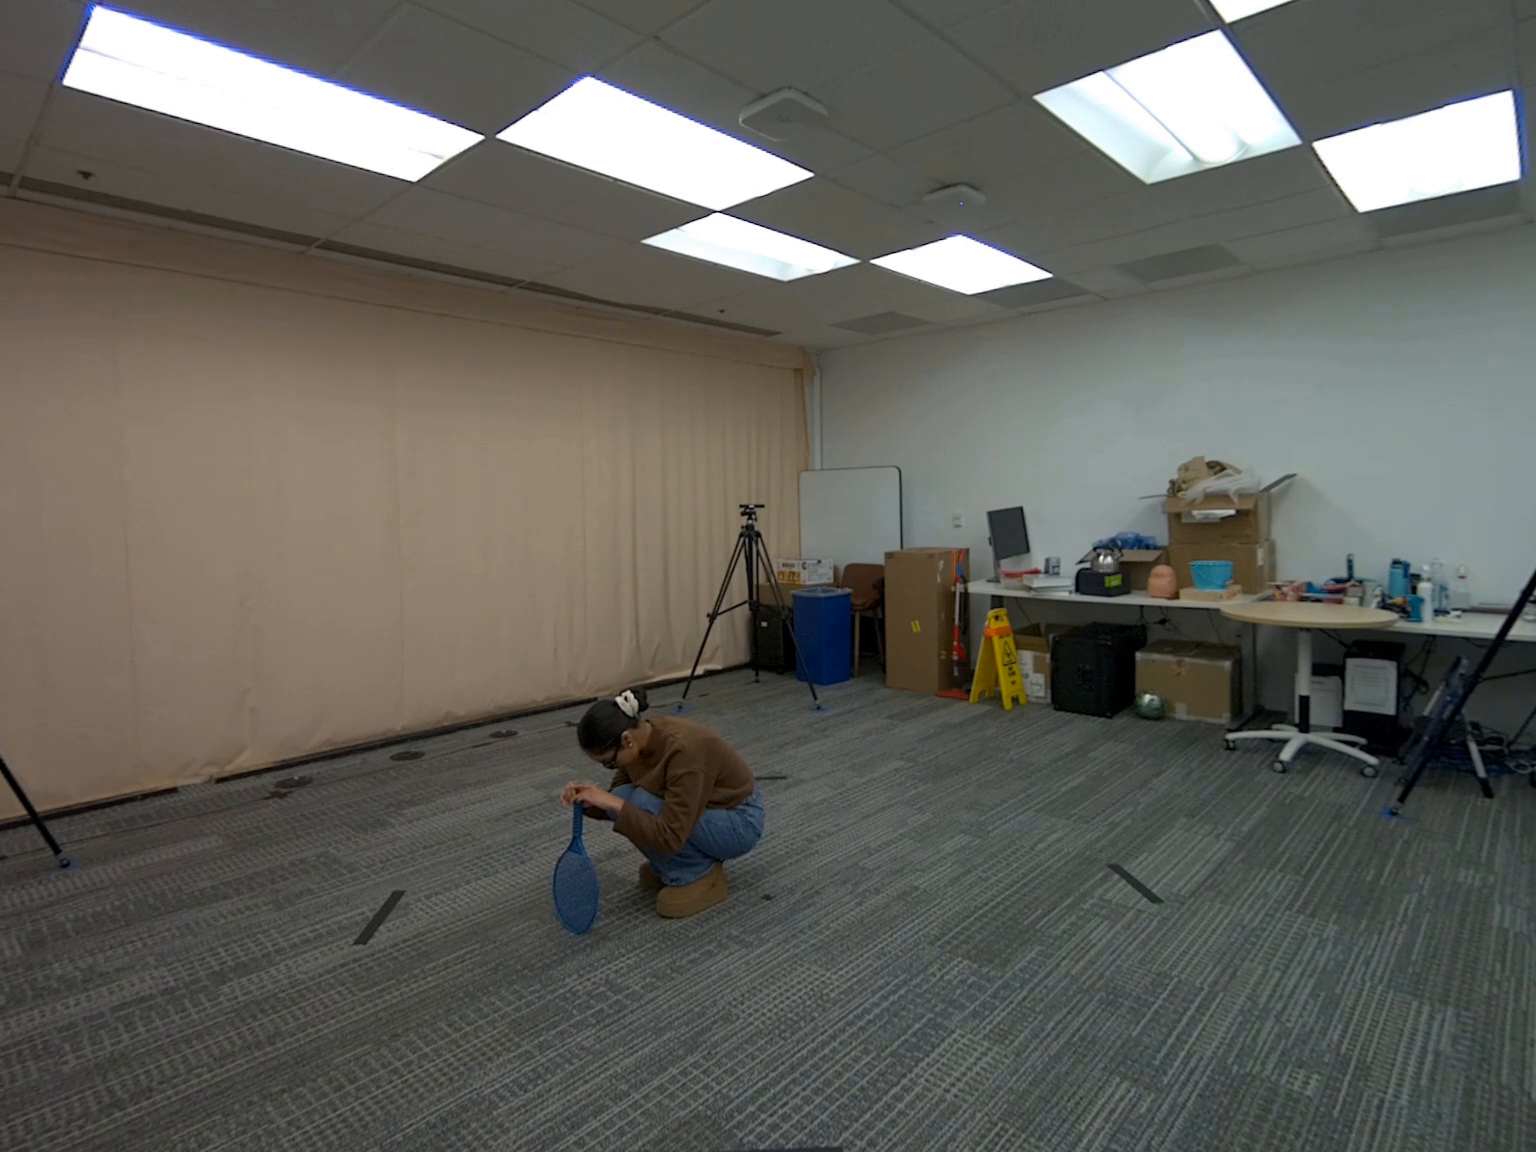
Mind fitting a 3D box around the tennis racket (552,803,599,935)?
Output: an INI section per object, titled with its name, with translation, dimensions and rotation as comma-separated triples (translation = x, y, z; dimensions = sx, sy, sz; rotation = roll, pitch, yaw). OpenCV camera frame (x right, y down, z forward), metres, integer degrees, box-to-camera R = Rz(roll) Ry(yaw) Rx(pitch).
[tennis racket]
translation = -0.642, 0.963, 2.791
dimensions = 0.220, 0.435, 0.031
rotation = -9, -10, 37
